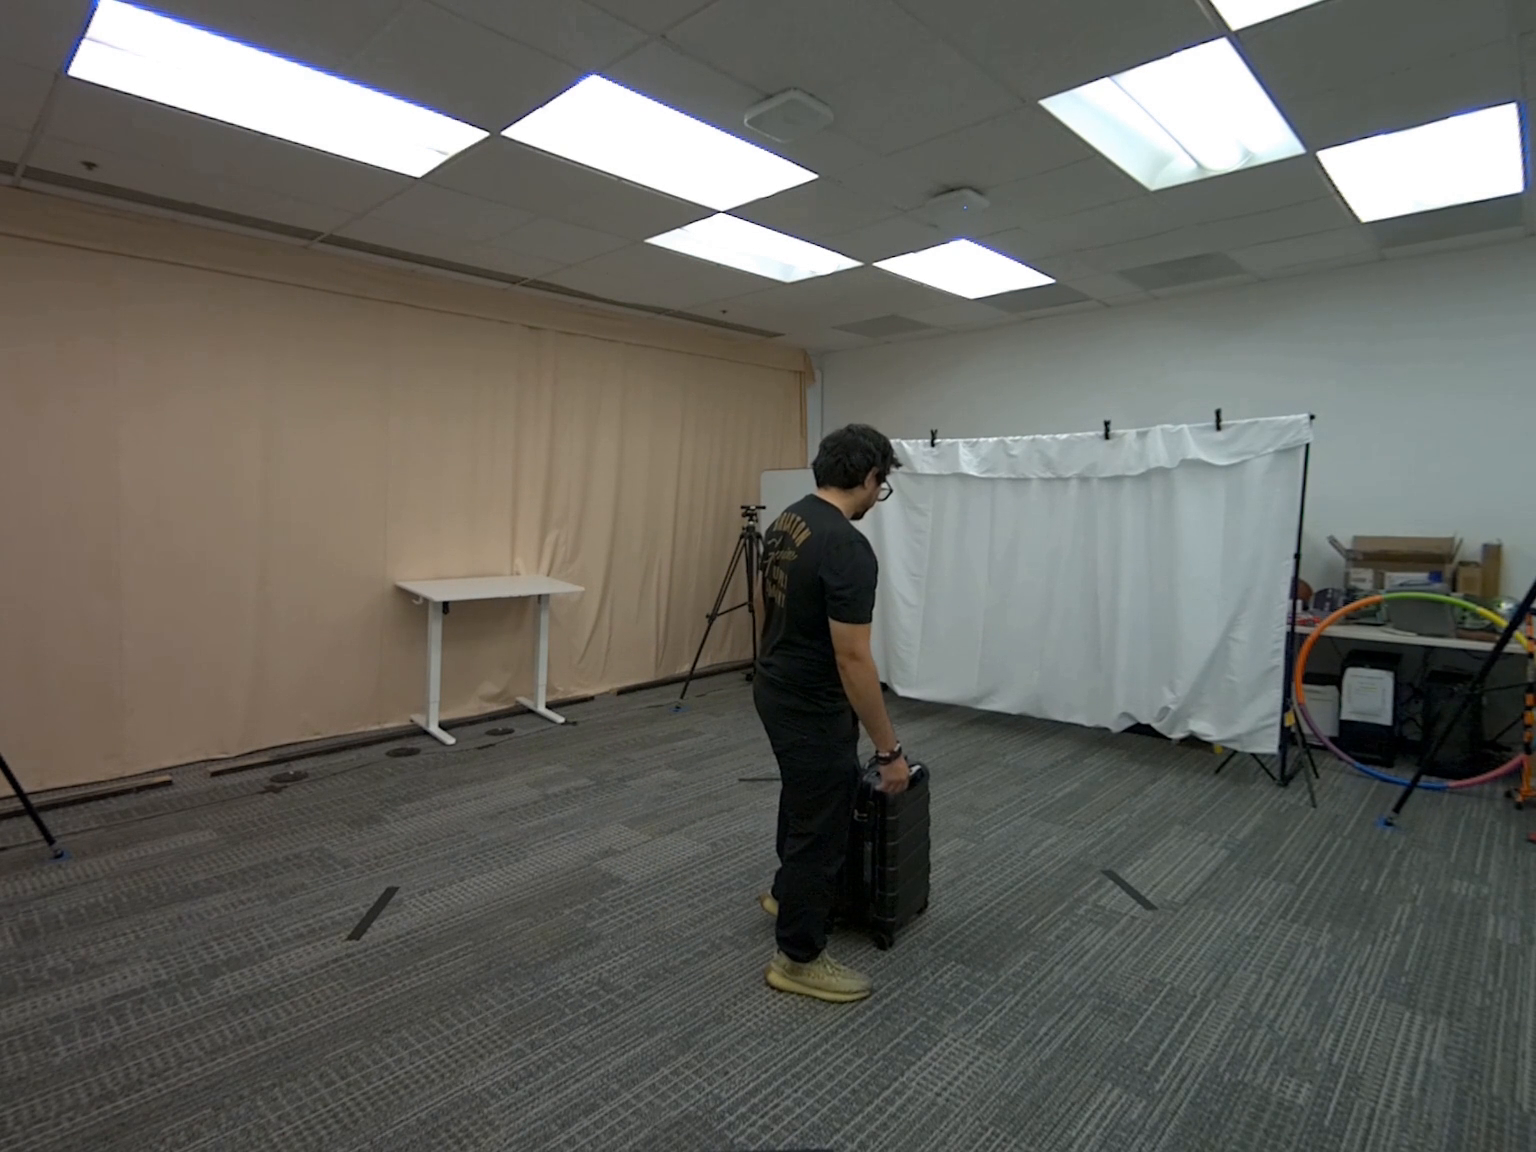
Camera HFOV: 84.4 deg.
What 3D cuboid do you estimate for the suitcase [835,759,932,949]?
[{"bbox_3d":[0.374,0.881,2.797,0.256,0.548,0.365,3,6,33],"label":"suitcase"}]
